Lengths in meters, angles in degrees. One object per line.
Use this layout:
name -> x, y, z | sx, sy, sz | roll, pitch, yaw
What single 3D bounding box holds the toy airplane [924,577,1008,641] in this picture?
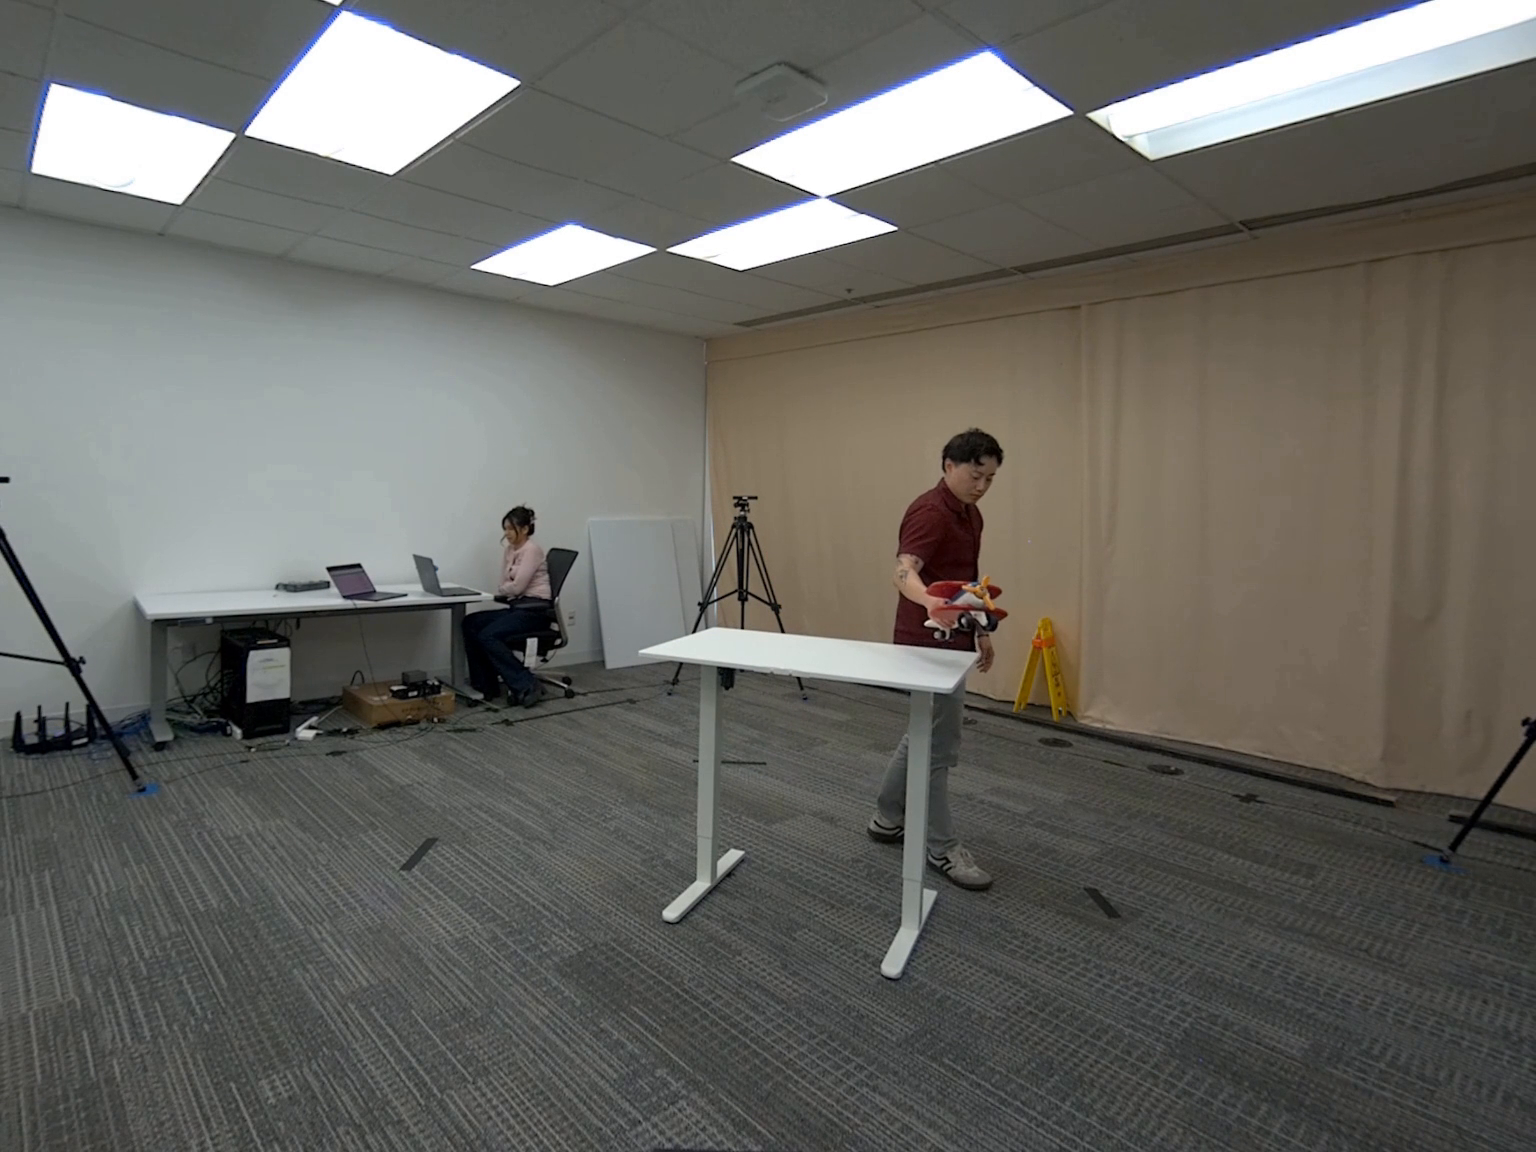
toy airplane -> 0.588, 0.111, 2.635 | 0.263, 0.158, 0.244 | -15, -20, 41
